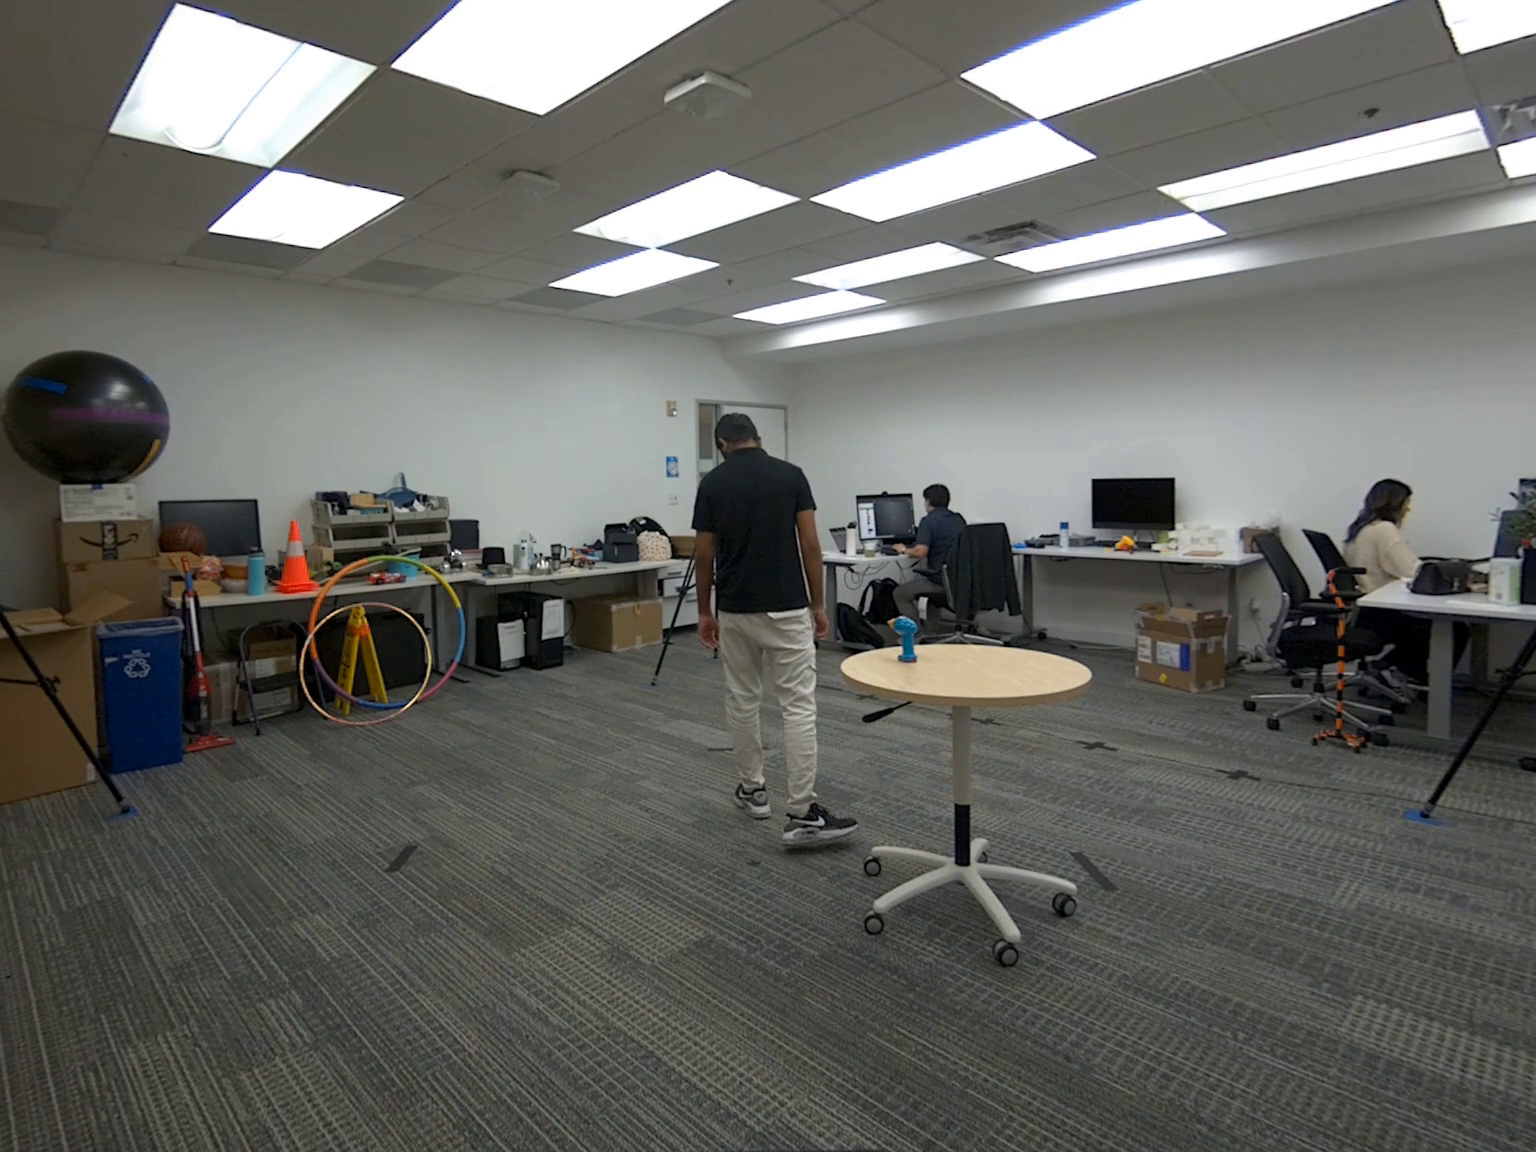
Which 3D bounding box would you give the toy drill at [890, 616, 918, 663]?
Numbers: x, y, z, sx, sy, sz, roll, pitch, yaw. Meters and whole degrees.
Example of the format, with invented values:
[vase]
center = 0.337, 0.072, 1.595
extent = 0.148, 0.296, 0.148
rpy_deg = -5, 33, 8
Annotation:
[toy drill]
center = 0.461, 0.208, 2.880
extent = 0.060, 0.145, 0.173
rpy_deg = -3, 5, -18
